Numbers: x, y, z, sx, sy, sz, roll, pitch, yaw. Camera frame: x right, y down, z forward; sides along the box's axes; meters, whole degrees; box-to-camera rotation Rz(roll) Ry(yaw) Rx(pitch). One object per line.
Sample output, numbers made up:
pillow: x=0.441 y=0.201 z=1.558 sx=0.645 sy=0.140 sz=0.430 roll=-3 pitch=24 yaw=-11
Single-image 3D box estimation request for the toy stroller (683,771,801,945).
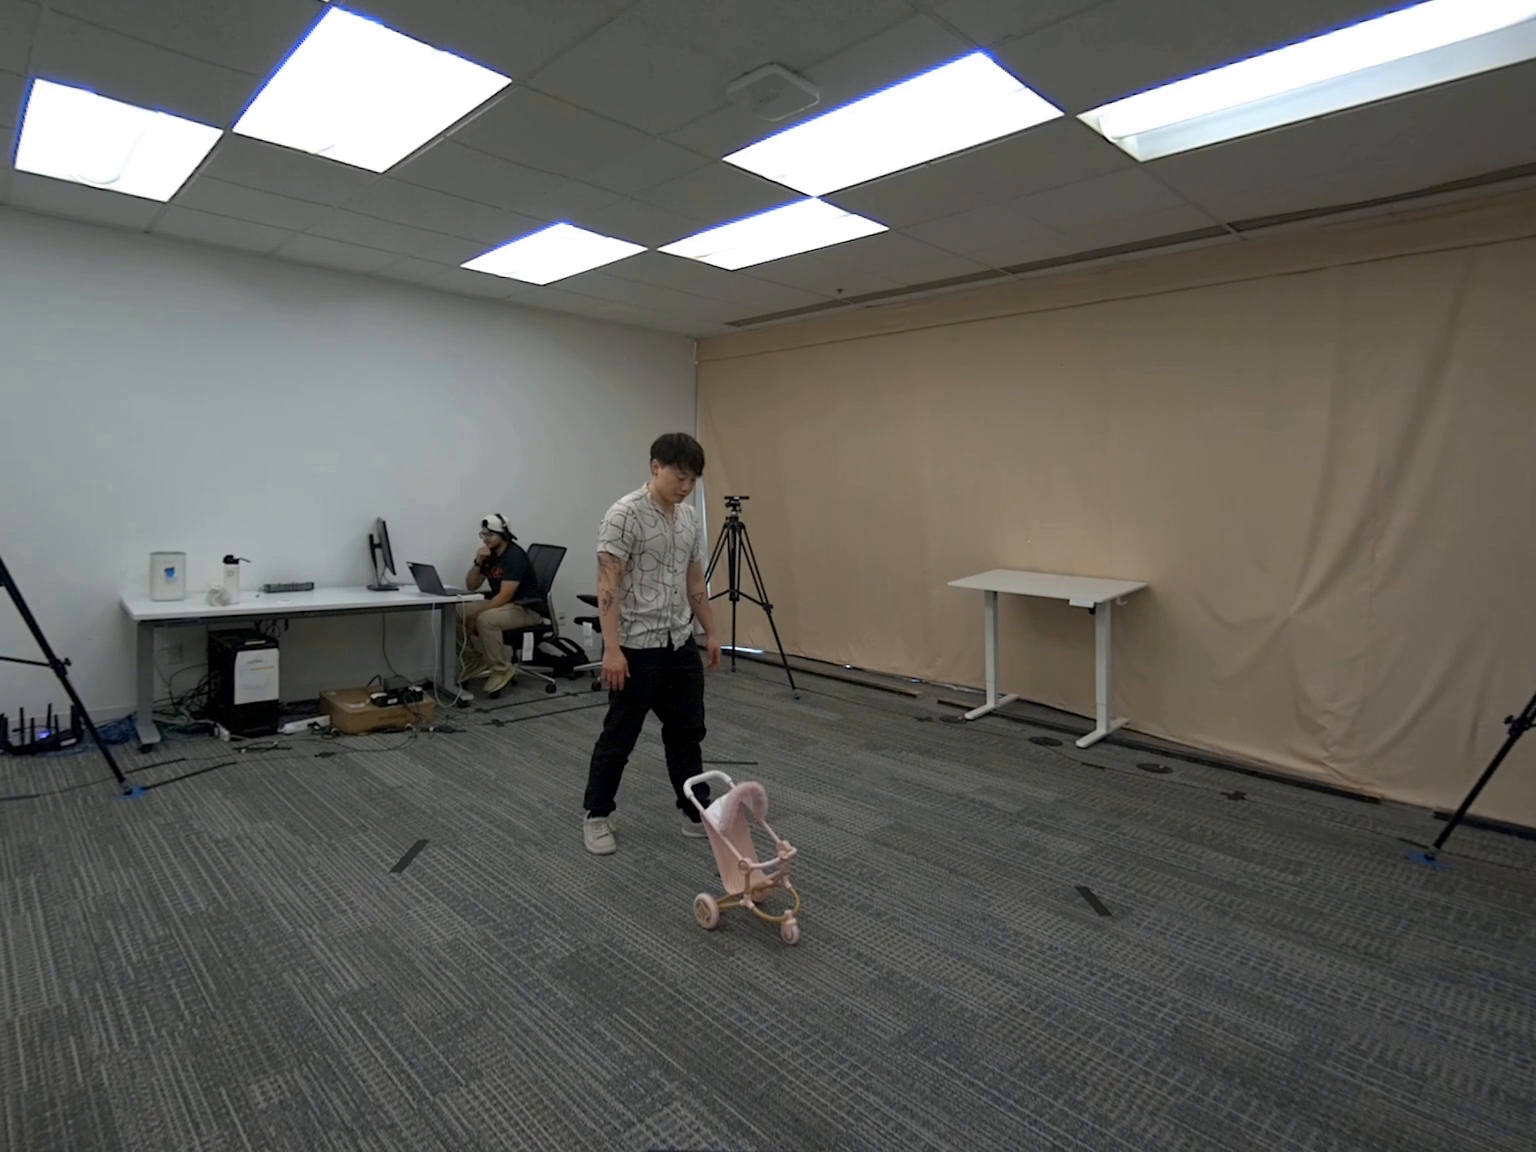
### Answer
toy stroller: x=-0.073 y=0.913 z=2.751 sx=0.275 sy=0.538 sz=0.347 roll=-3 pitch=-10 yaw=-44
